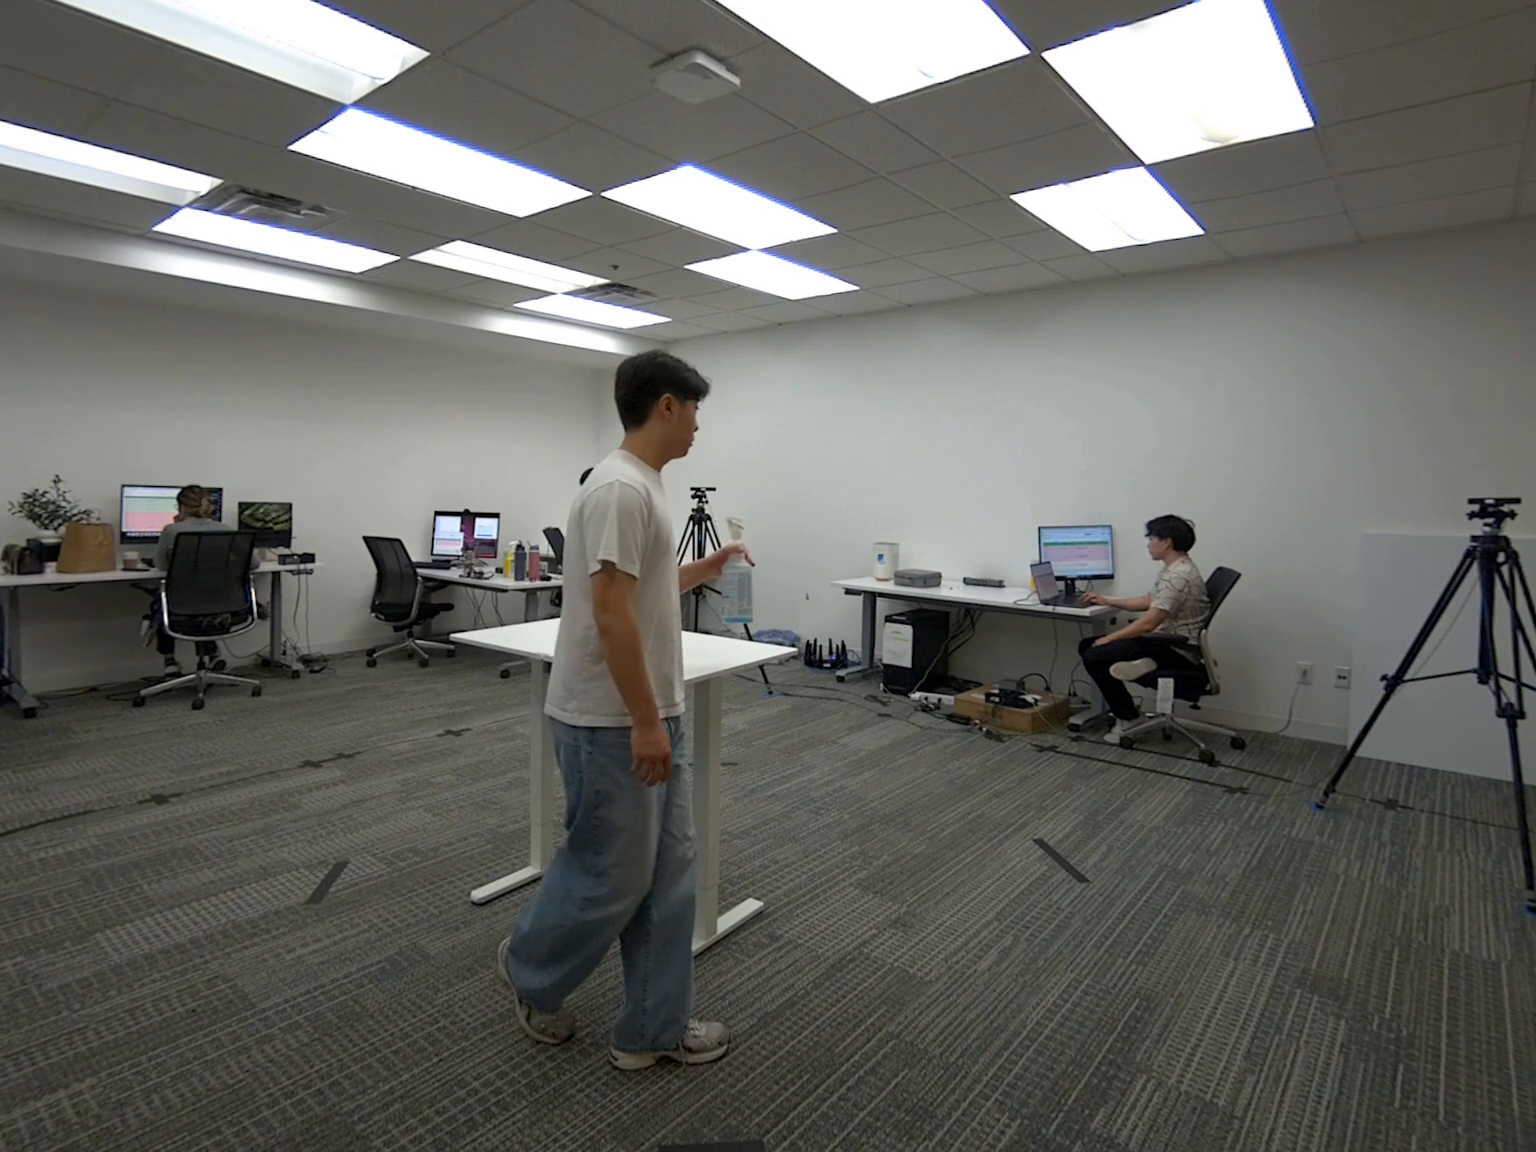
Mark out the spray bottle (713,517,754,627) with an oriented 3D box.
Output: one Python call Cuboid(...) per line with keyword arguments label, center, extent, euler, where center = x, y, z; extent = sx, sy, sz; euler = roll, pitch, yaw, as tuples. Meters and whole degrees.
Cuboid(label="spray bottle", center=(-0.101, -0.021, 2.376), extent=(0.087, 0.299, 0.089), euler=(3, -7, -37))
